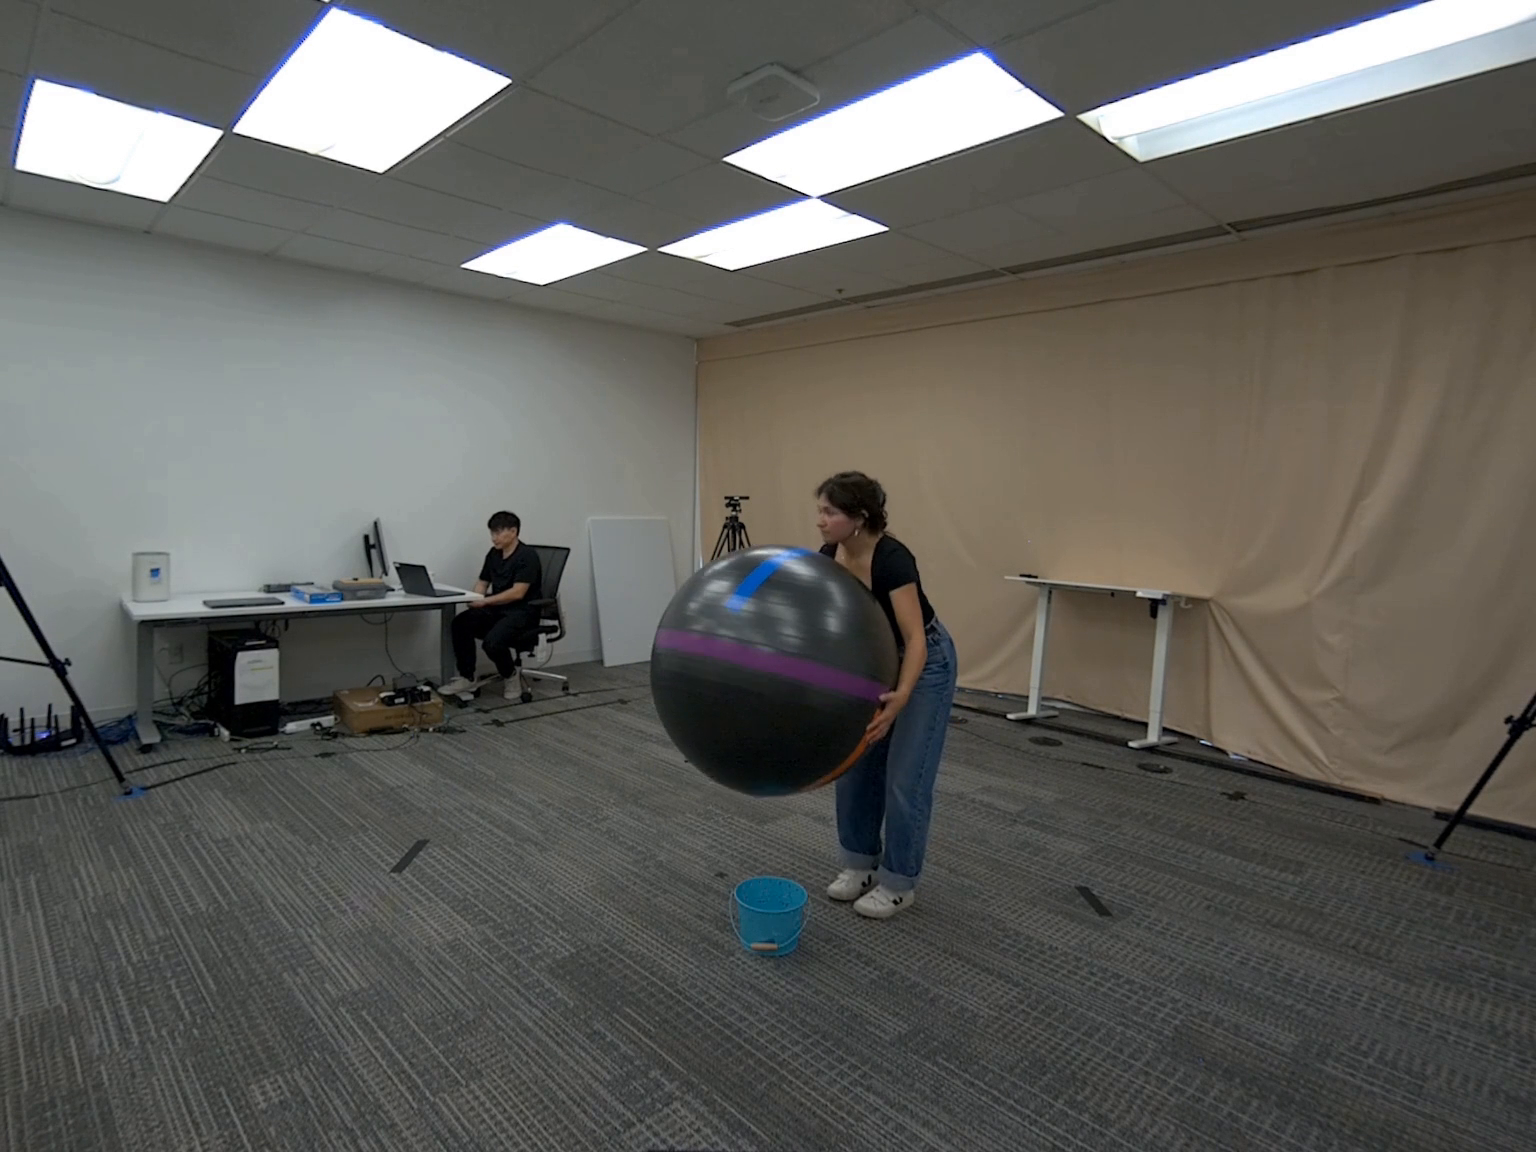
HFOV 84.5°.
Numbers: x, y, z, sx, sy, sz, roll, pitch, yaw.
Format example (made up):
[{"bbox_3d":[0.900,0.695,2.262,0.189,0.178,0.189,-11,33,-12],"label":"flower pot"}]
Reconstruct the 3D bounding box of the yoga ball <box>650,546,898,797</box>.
[{"bbox_3d":[0.015,0.292,2.591,0.757,0.756,0.761,1,4,-1],"label":"yoga ball"}]
